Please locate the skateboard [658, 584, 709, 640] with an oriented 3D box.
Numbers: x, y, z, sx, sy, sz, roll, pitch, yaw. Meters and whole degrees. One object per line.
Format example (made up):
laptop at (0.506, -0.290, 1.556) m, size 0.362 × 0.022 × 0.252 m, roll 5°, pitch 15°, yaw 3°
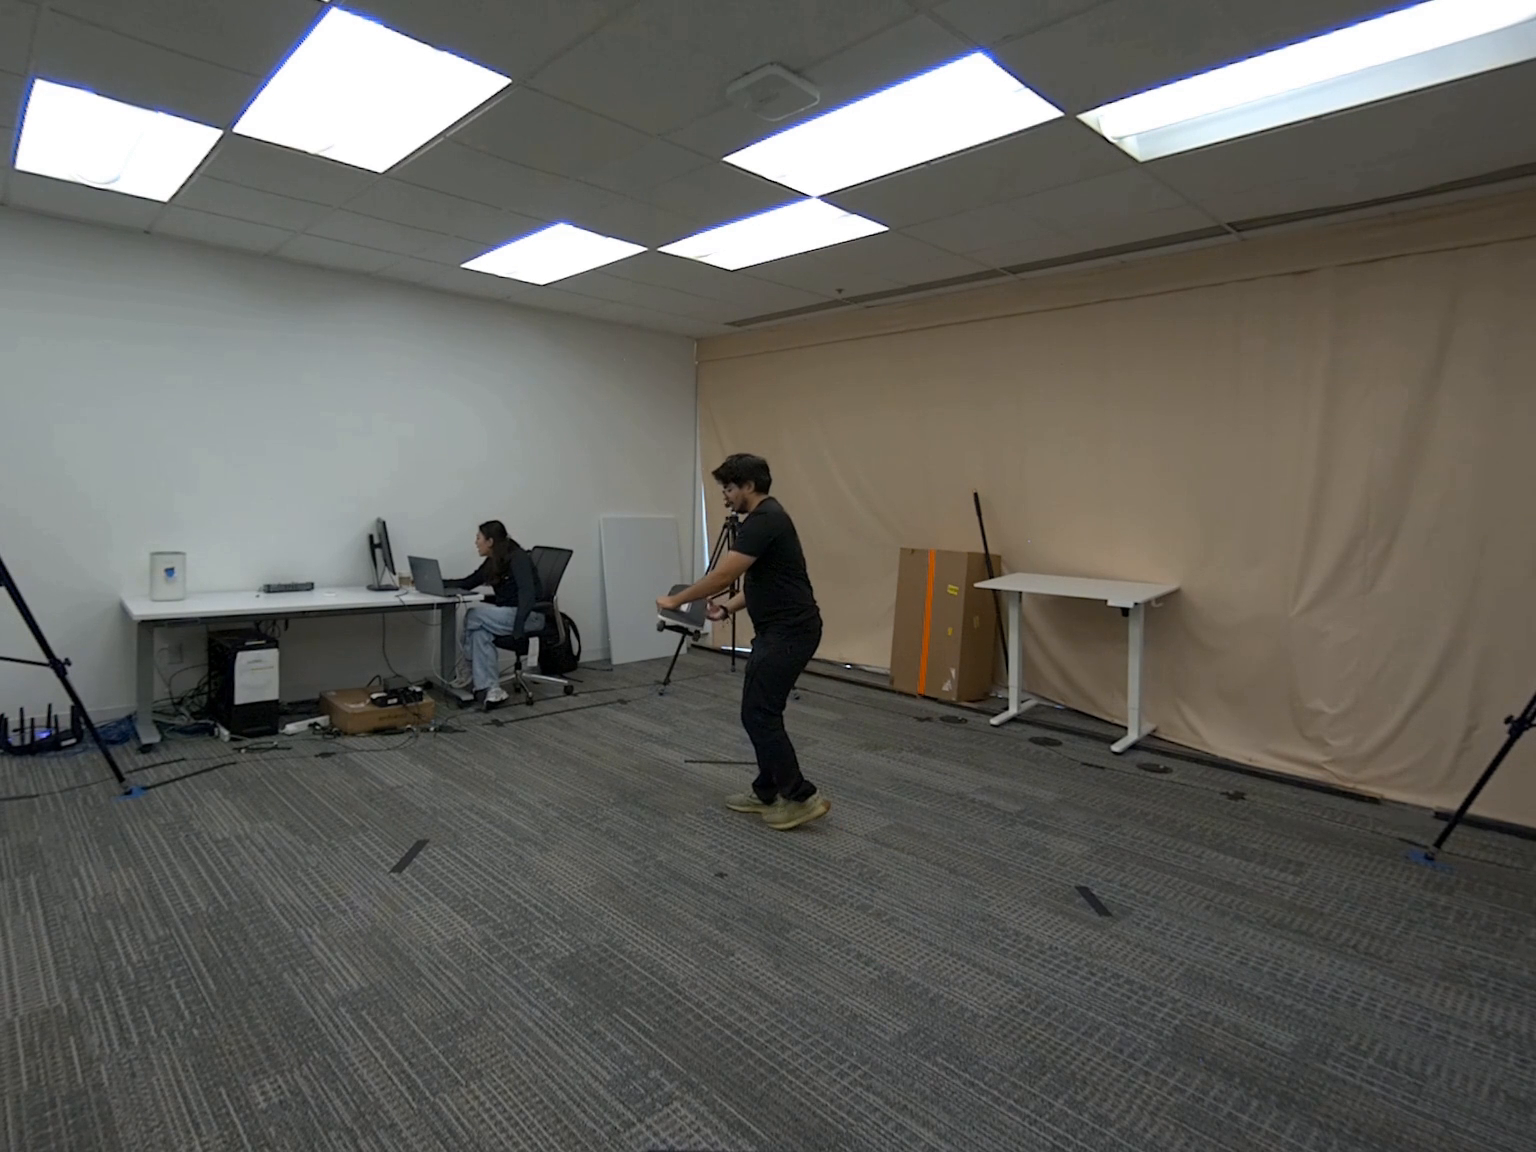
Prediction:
skateboard at (-0.374, 0.170, 3.699) m, size 0.193 × 0.110 × 0.791 m, roll 13°, pitch 9°, yaw -4°
